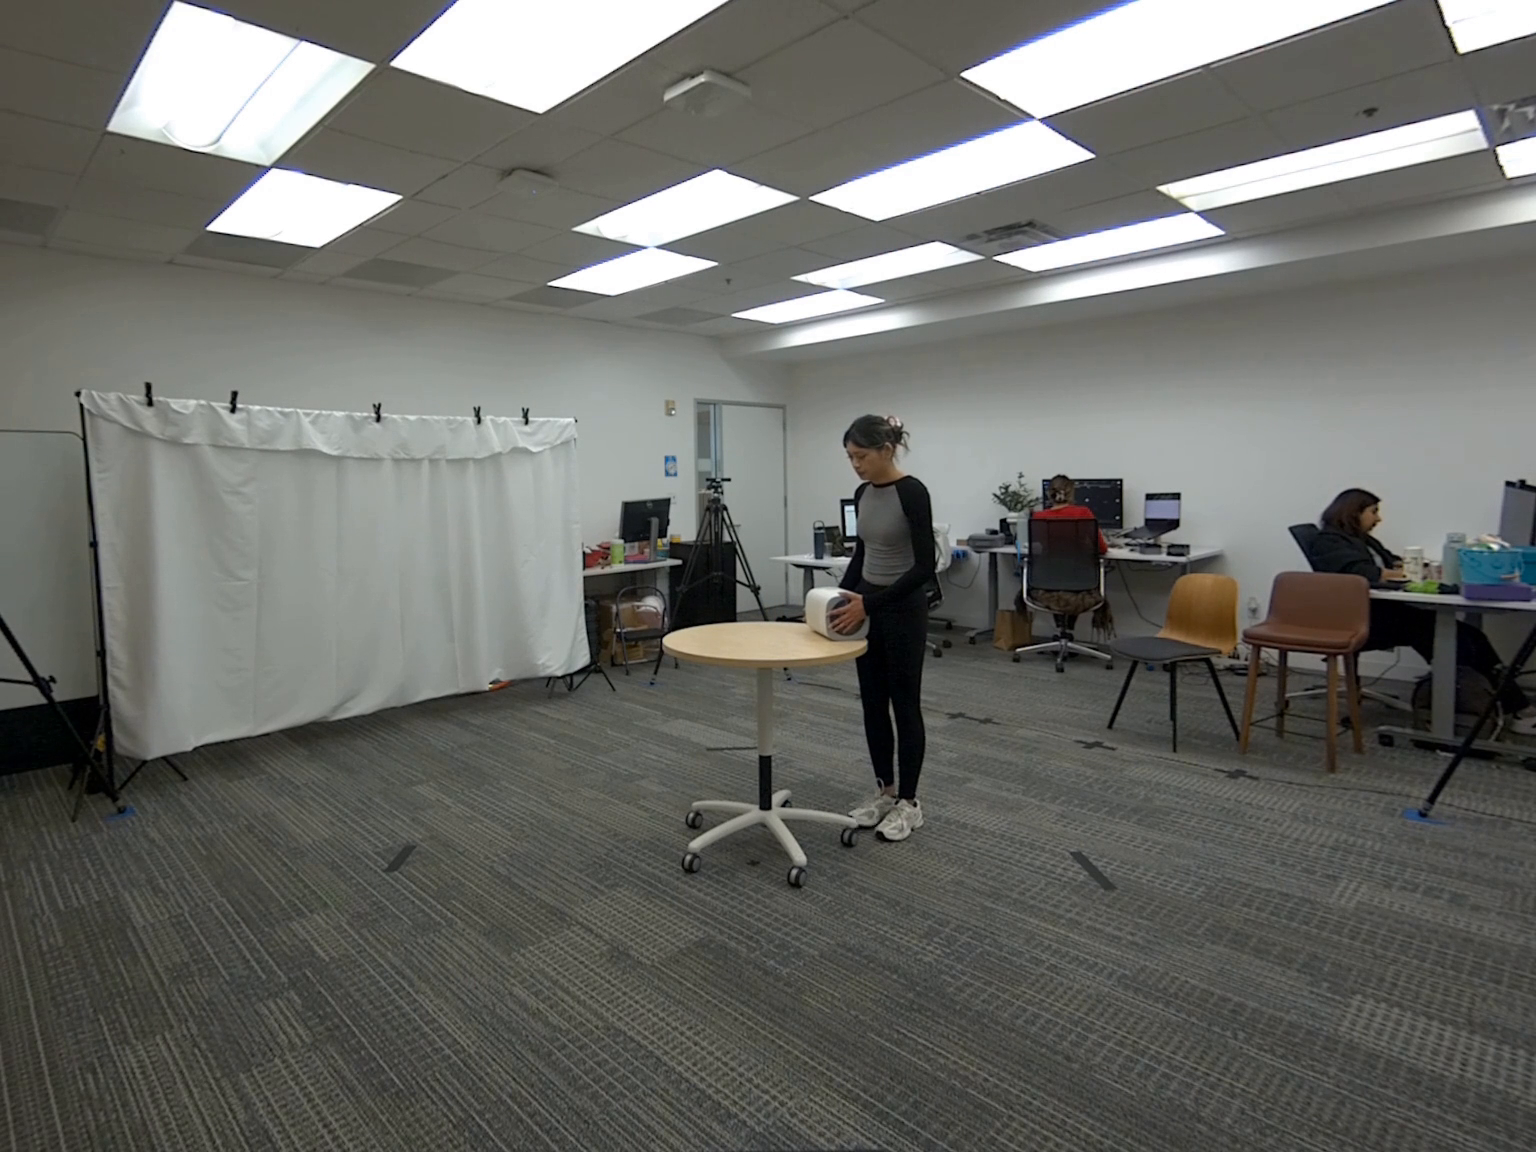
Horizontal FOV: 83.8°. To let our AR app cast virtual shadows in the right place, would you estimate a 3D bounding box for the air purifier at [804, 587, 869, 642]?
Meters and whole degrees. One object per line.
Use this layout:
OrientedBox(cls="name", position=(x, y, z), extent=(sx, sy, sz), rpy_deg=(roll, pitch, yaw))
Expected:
OrientedBox(cls="air purifier", position=(0.266, 0.142, 3.272), extent=(0.169, 0.171, 0.270), rpy_deg=(-2, 6, -14))
